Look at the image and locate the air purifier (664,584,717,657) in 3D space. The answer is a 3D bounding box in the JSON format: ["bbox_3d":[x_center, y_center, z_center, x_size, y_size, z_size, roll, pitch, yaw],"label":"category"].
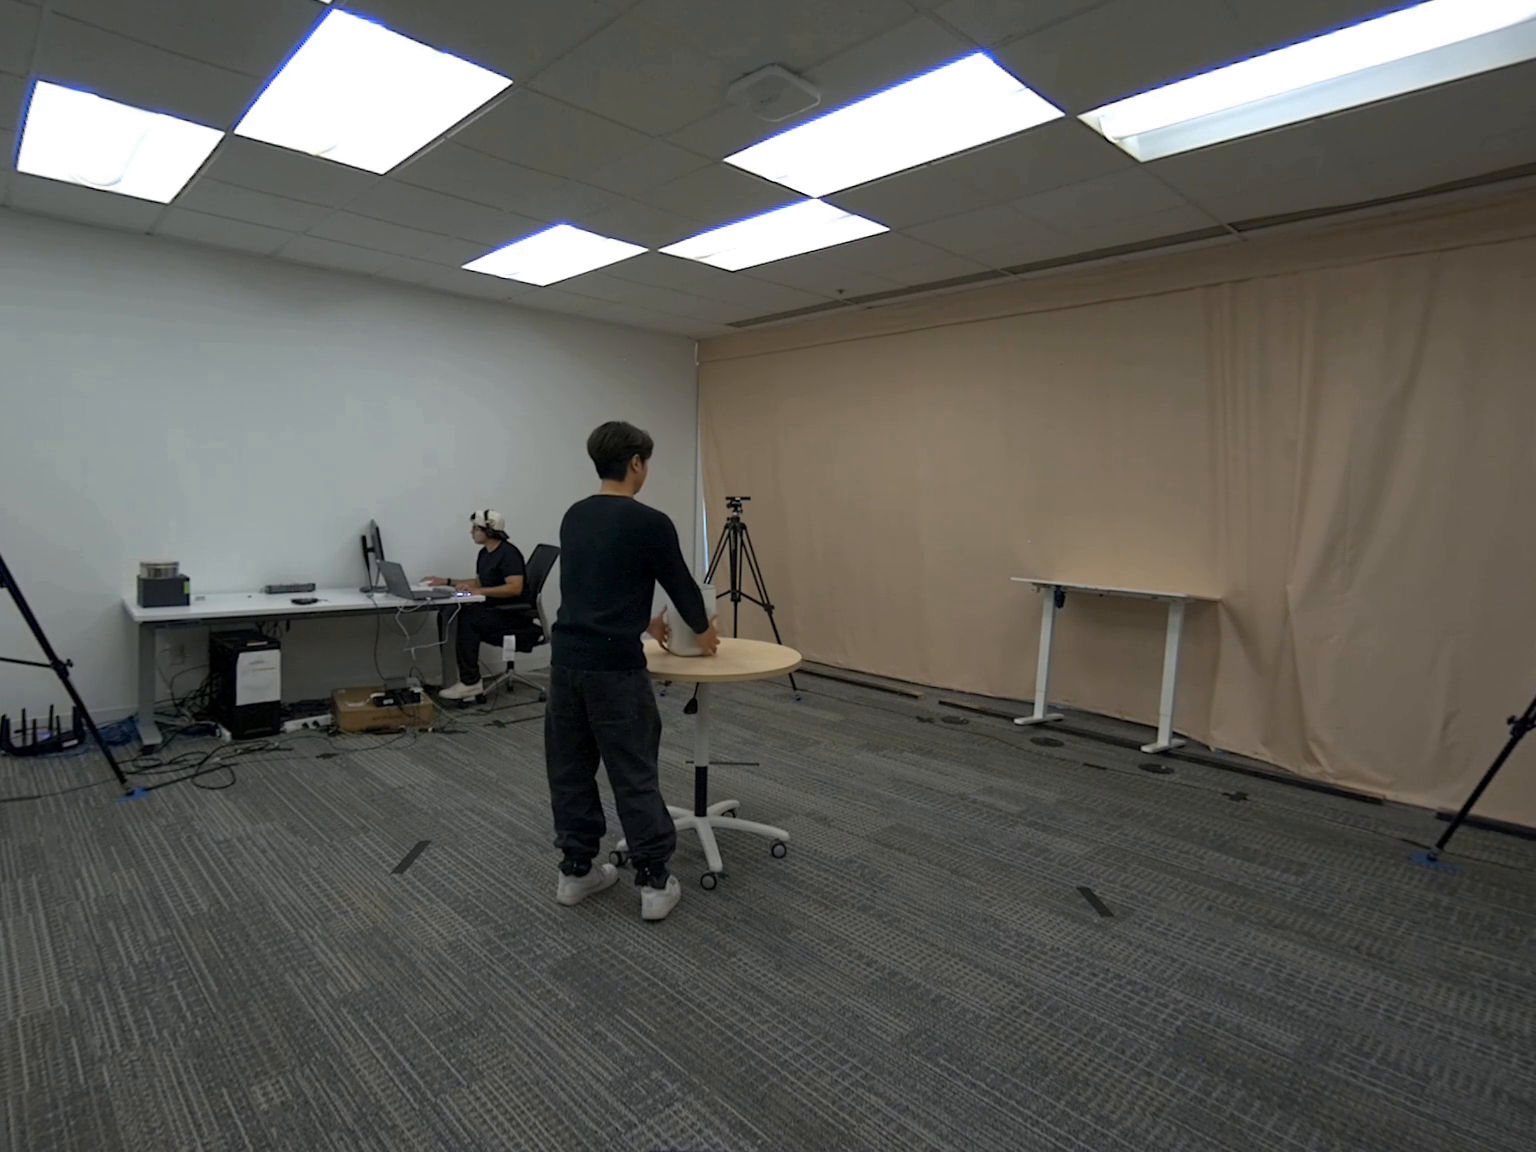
[{"bbox_3d":[-0.308,0.170,3.291,0.168,0.264,0.175,-1,4,-28],"label":"air purifier"}]
